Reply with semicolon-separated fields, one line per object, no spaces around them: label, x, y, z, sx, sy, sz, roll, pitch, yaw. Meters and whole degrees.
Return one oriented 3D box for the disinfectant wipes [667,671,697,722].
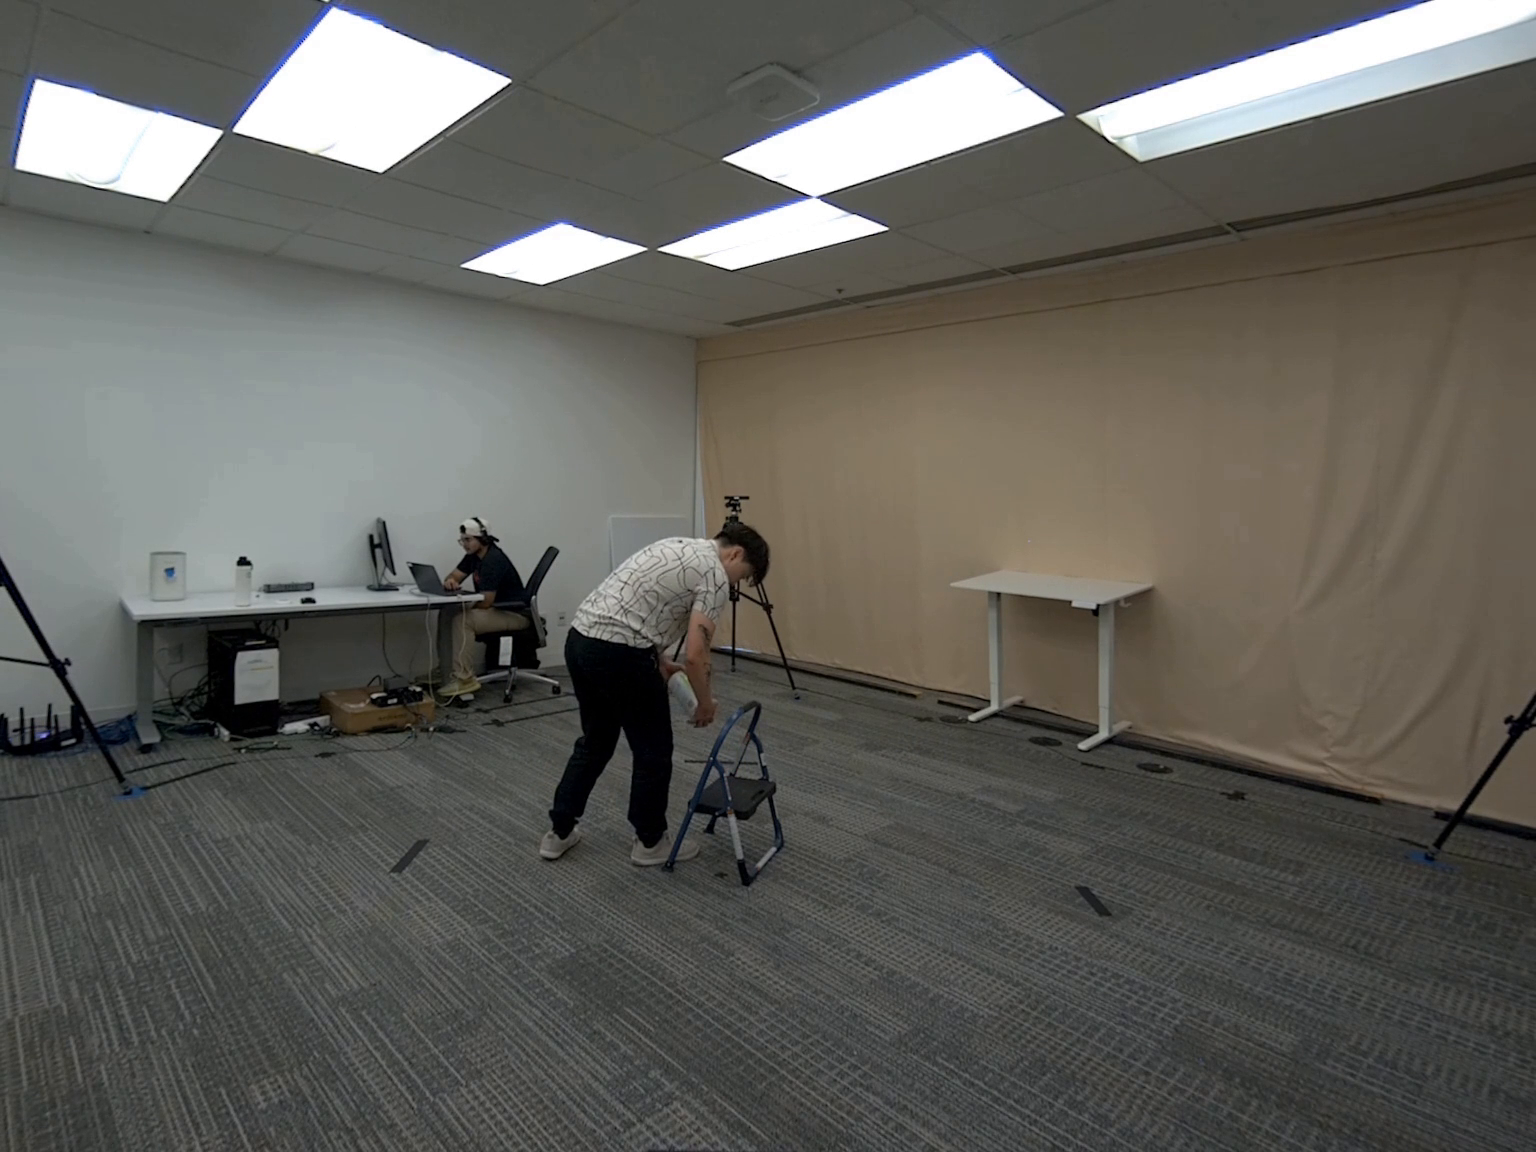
disinfectant wipes;-0.313;0.484;3.340;0.115;0.116;0.224;-2;34;-34
